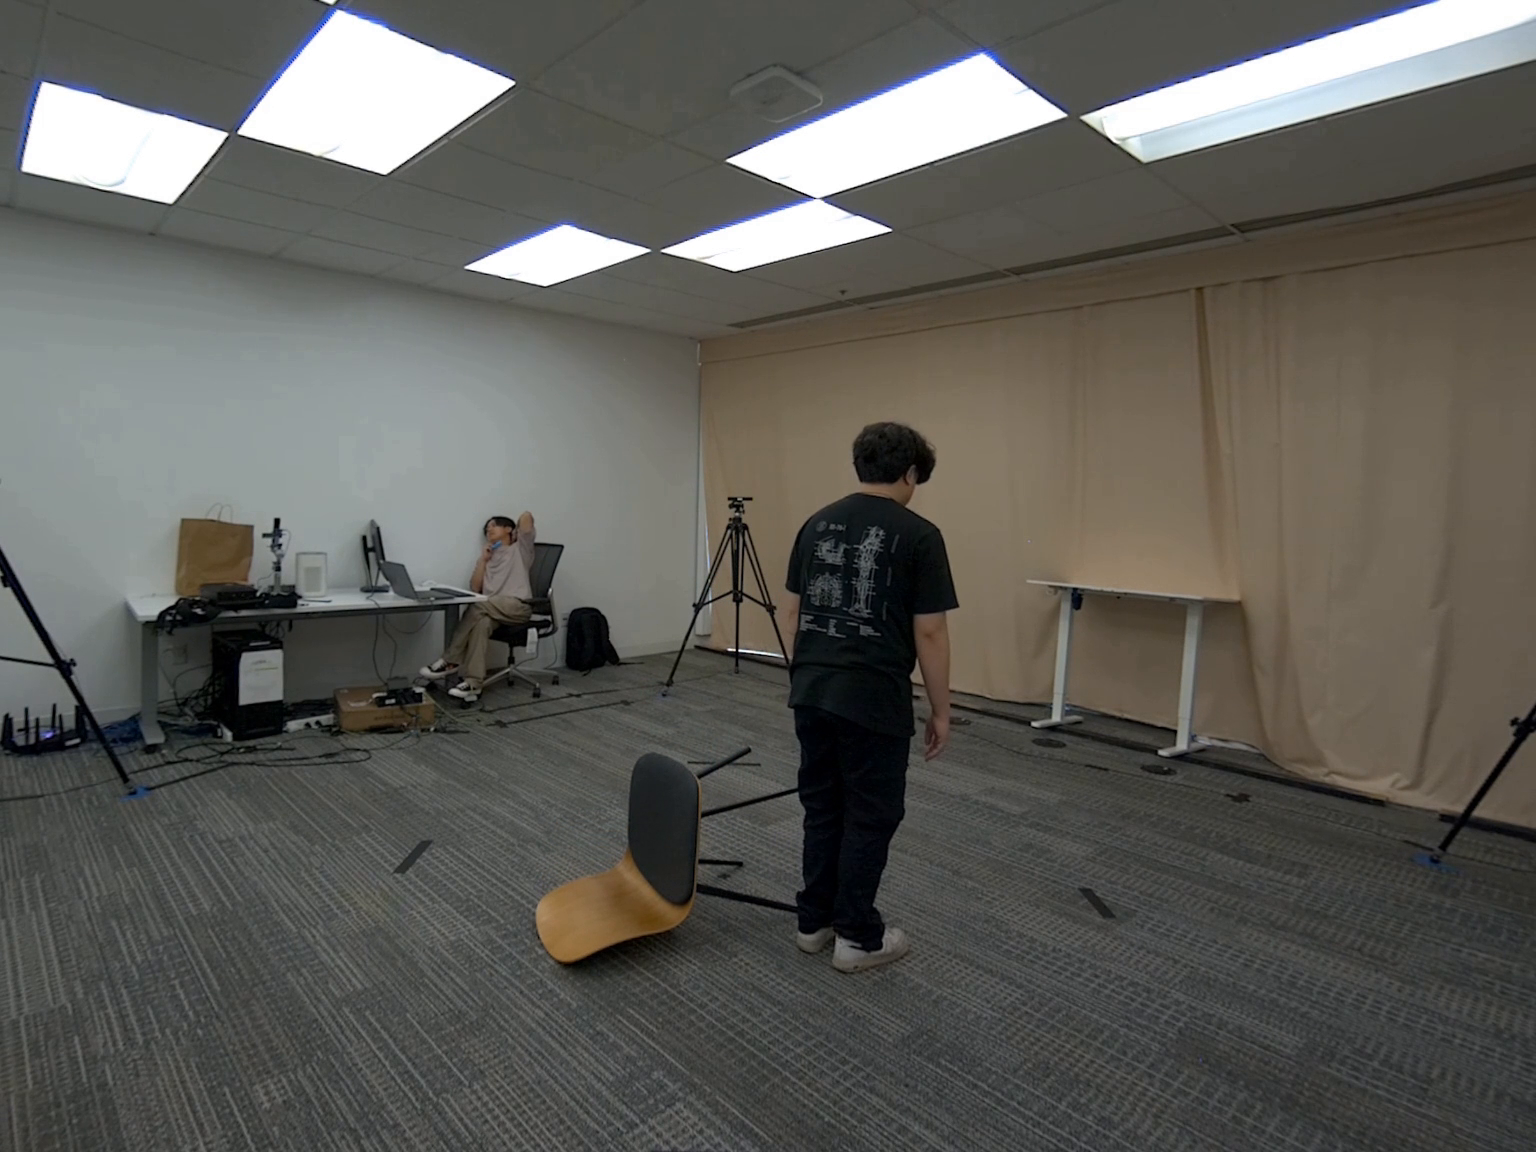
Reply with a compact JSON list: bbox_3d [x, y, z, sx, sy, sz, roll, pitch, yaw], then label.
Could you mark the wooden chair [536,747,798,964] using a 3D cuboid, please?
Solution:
[{"bbox_3d":[-0.318,0.878,2.784,0.859,0.521,0.489,-3,6,-32],"label":"wooden chair"}]
